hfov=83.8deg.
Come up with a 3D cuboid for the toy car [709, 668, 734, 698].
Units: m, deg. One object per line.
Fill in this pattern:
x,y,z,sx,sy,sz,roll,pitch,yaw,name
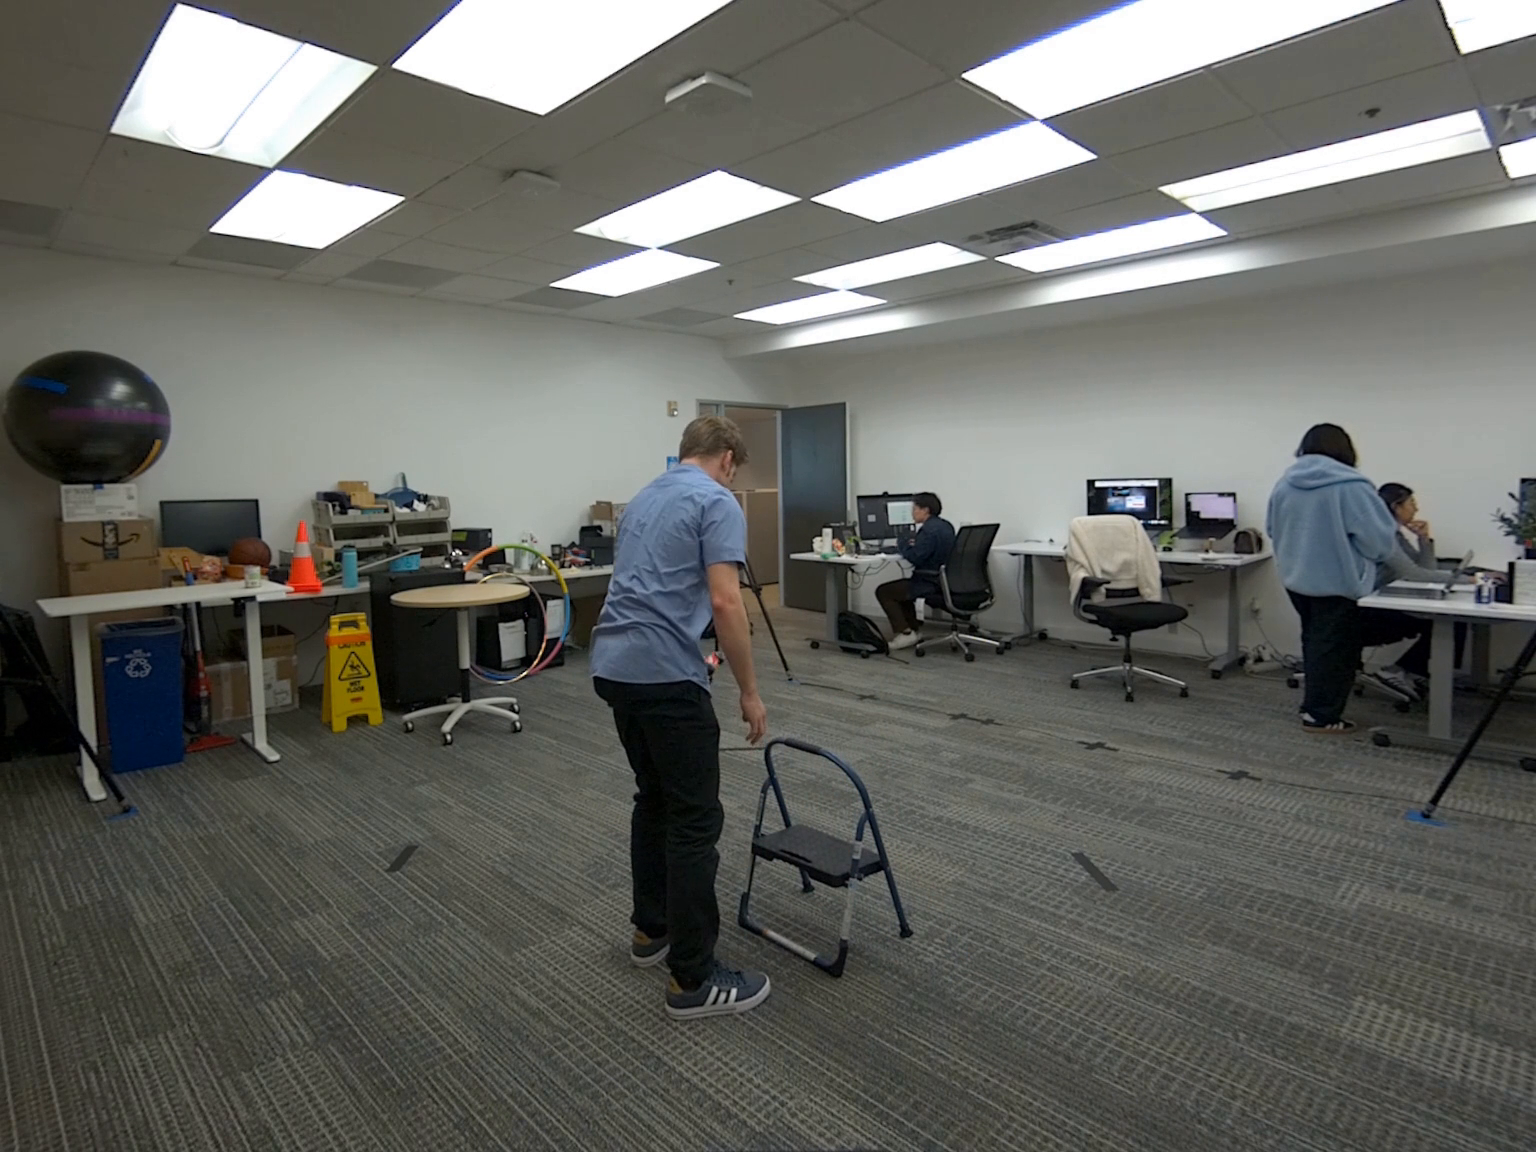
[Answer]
-0.226,0.367,2.855,0.132,0.084,0.249,-16,-9,15,toy car
